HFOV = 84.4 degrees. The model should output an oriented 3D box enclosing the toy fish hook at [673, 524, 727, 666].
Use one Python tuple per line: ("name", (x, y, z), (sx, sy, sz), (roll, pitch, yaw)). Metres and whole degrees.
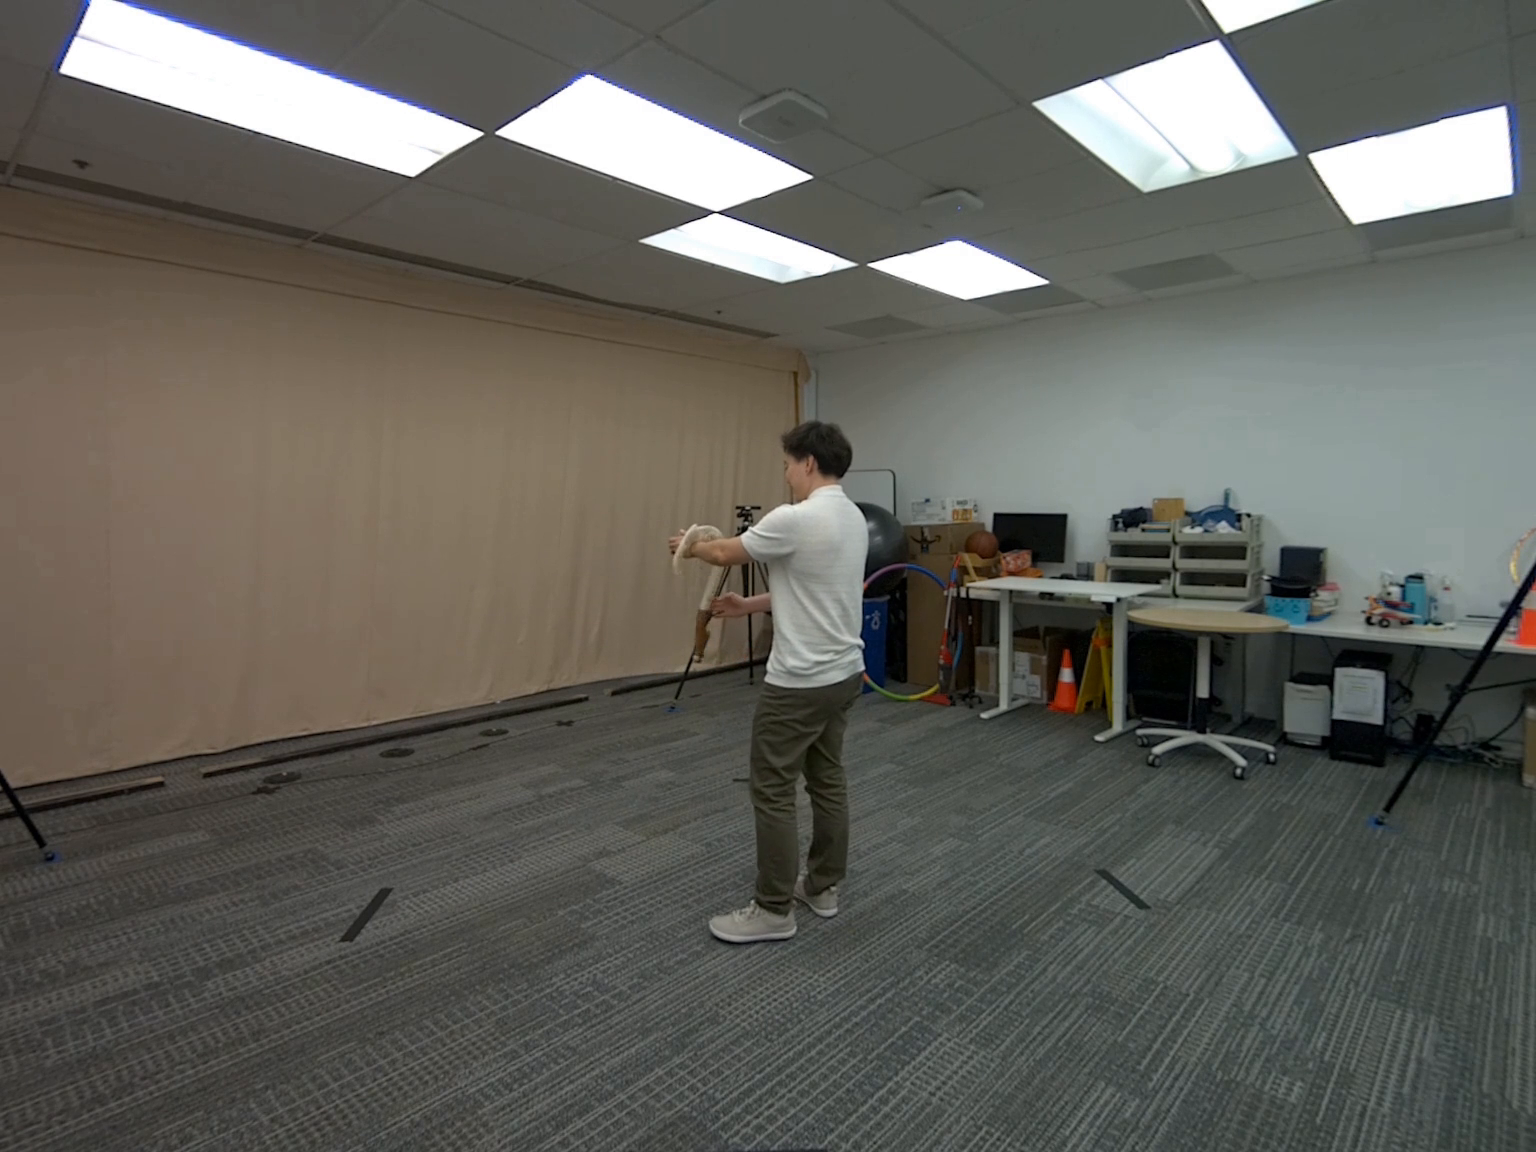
("toy fish hook", (-0.273, 0.073, 3.058), (0.218, 0.506, 0.050), (6, 2, -29))
